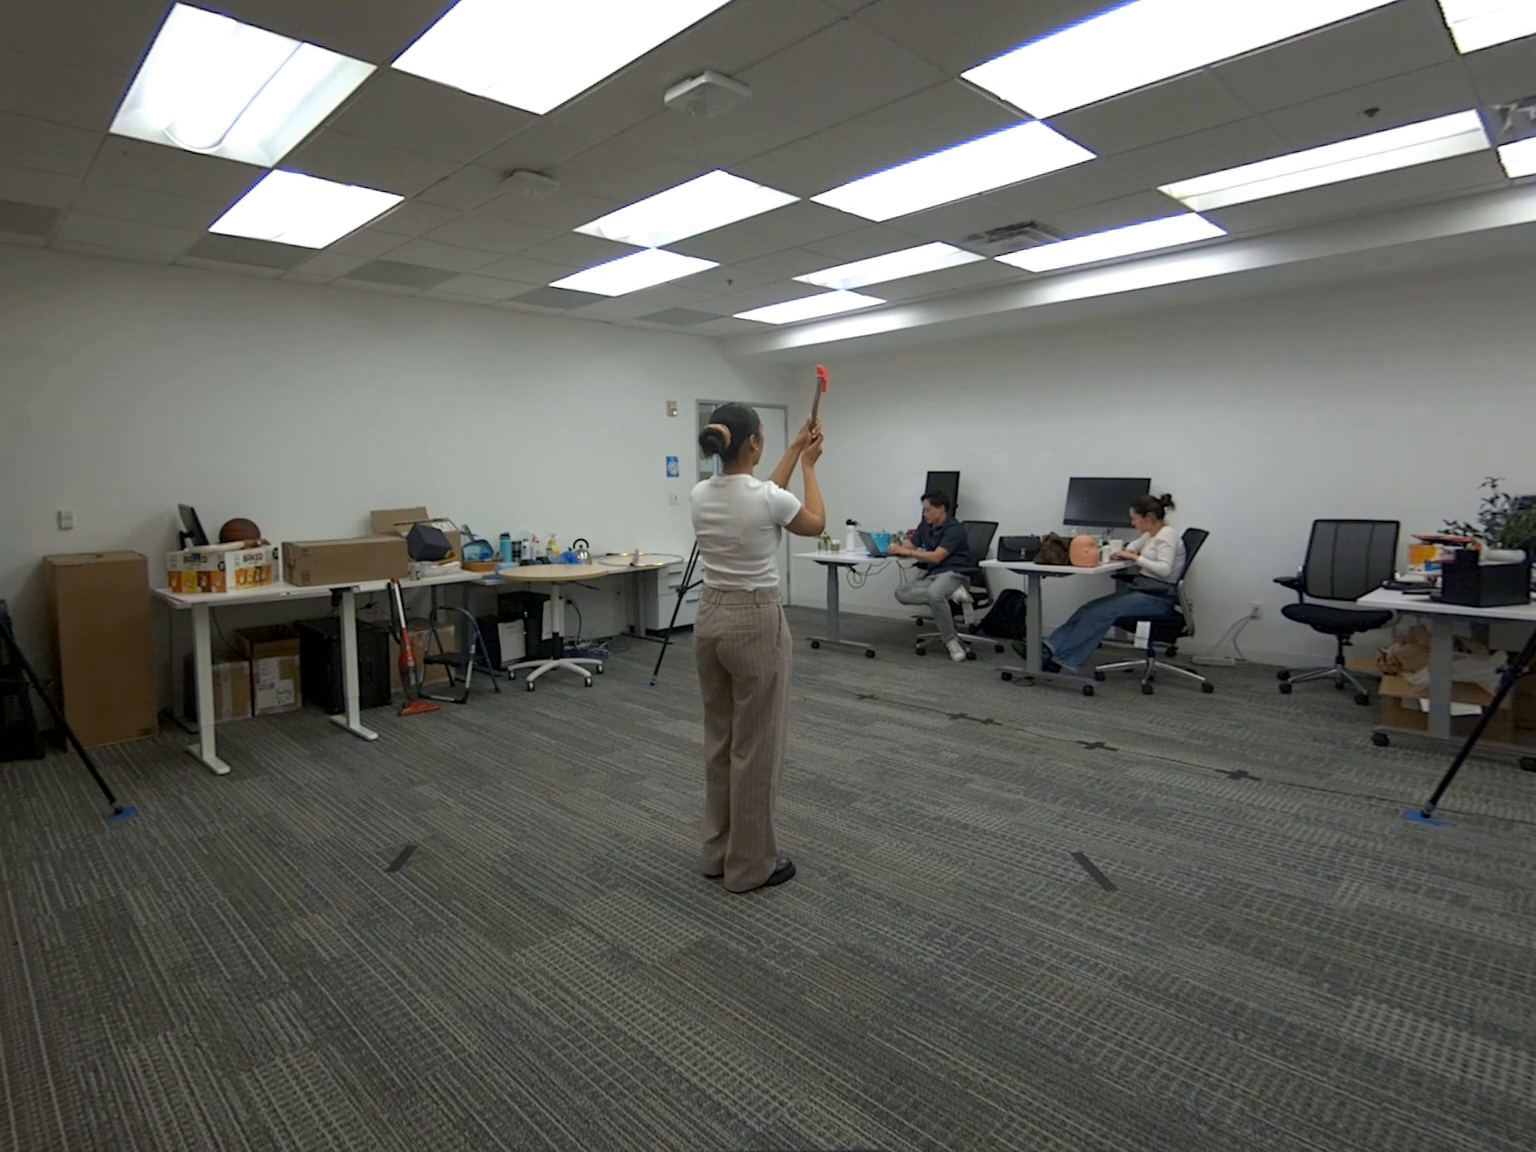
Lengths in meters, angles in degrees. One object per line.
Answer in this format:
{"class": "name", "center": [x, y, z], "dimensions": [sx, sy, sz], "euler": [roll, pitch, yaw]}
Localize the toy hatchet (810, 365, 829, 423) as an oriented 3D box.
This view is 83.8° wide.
{"class": "toy hatchet", "center": [0.184, -0.636, 3.115], "dimensions": [0.030, 0.269, 0.129], "euler": [8, 7, 19]}
